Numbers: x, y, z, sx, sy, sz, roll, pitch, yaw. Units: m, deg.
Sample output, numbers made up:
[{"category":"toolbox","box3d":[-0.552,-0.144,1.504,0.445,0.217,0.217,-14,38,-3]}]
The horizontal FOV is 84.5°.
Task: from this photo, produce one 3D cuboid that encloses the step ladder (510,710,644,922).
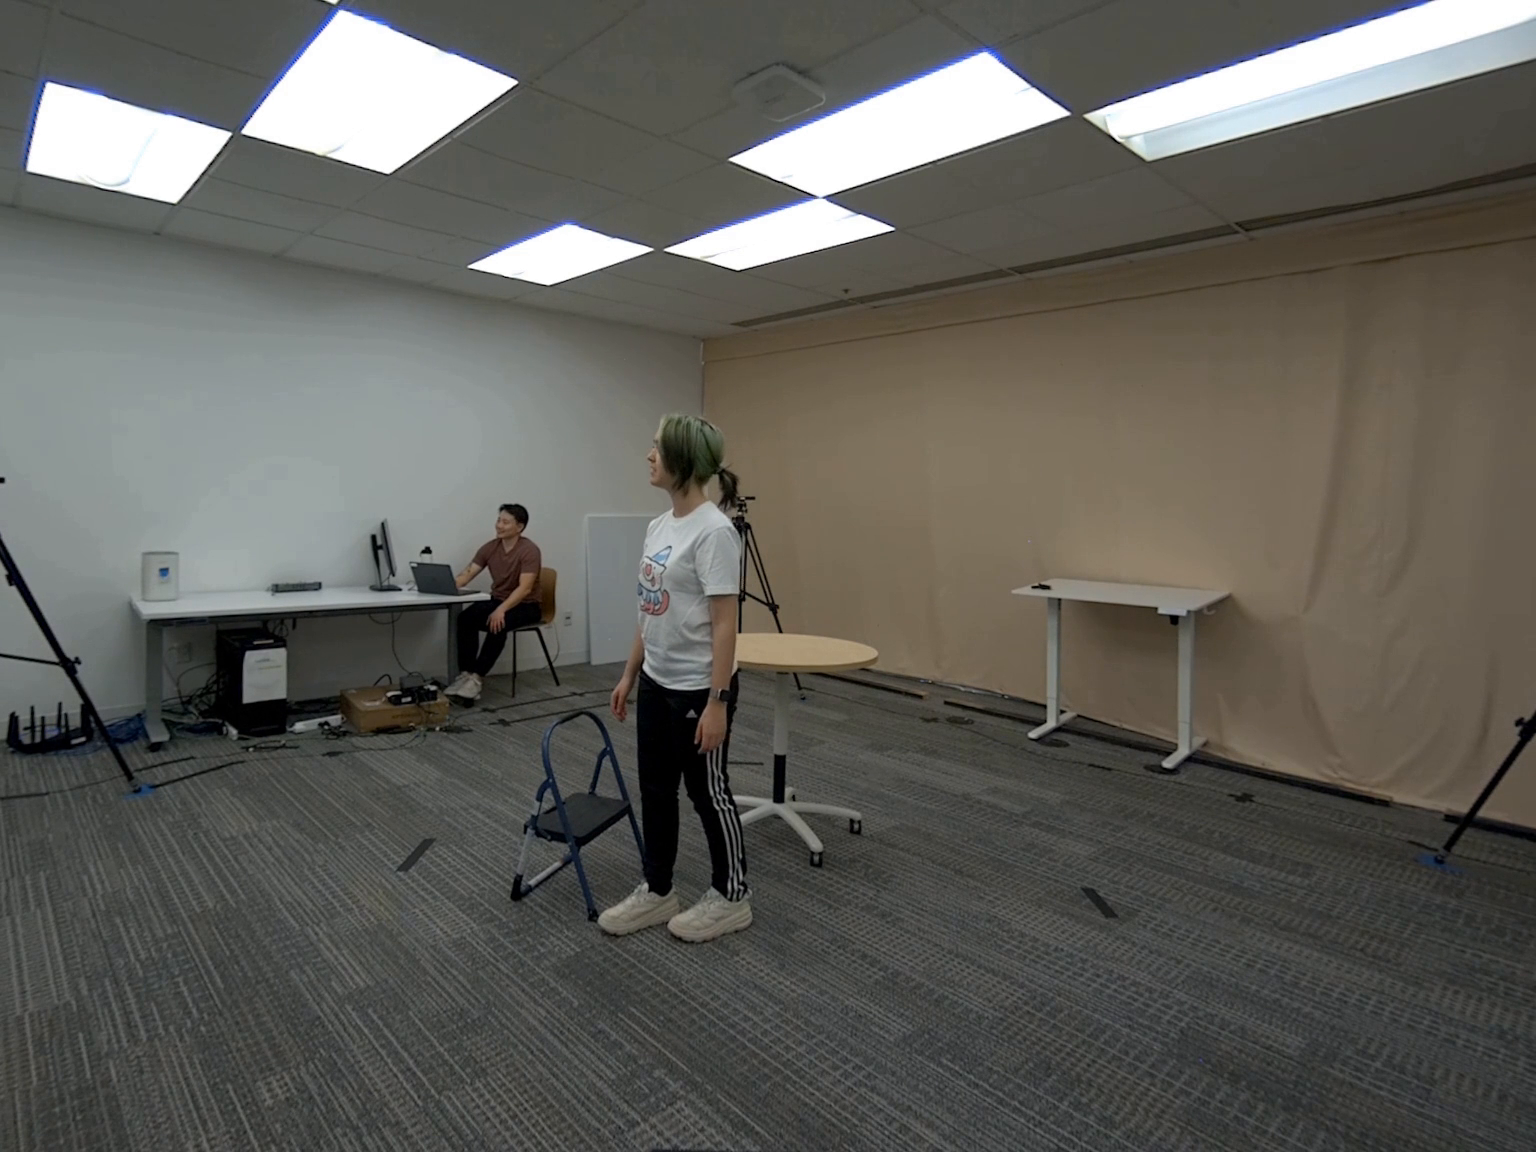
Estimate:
[{"category":"step ladder","box3d":[-0.651,0.802,2.986,0.355,0.604,0.425,3,4,19]}]
